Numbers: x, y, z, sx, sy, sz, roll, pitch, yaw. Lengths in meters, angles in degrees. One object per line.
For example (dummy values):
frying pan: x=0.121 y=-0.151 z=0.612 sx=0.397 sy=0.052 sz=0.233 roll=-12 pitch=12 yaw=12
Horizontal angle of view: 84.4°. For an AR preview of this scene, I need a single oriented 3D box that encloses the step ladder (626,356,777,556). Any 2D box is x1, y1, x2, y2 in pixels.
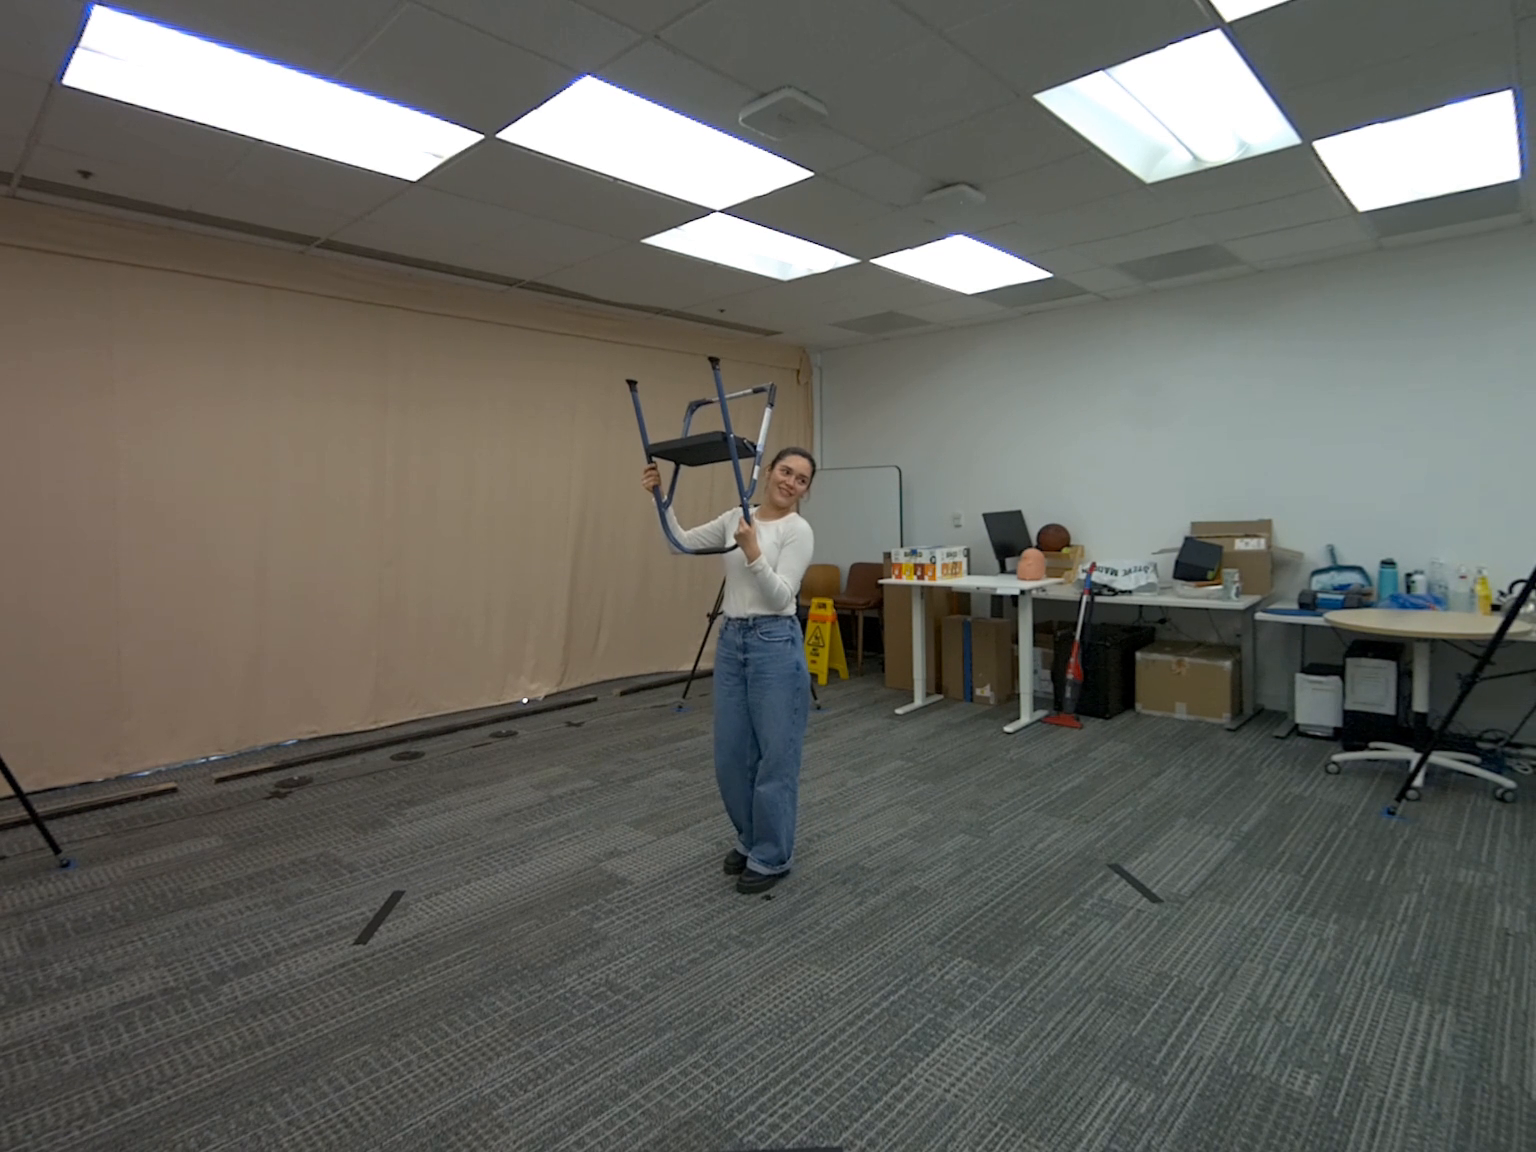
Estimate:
step ladder: x=-0.242 y=-0.387 z=2.938 sx=0.444 sy=0.608 sz=0.337 roll=-4 pitch=-8 yaw=41
